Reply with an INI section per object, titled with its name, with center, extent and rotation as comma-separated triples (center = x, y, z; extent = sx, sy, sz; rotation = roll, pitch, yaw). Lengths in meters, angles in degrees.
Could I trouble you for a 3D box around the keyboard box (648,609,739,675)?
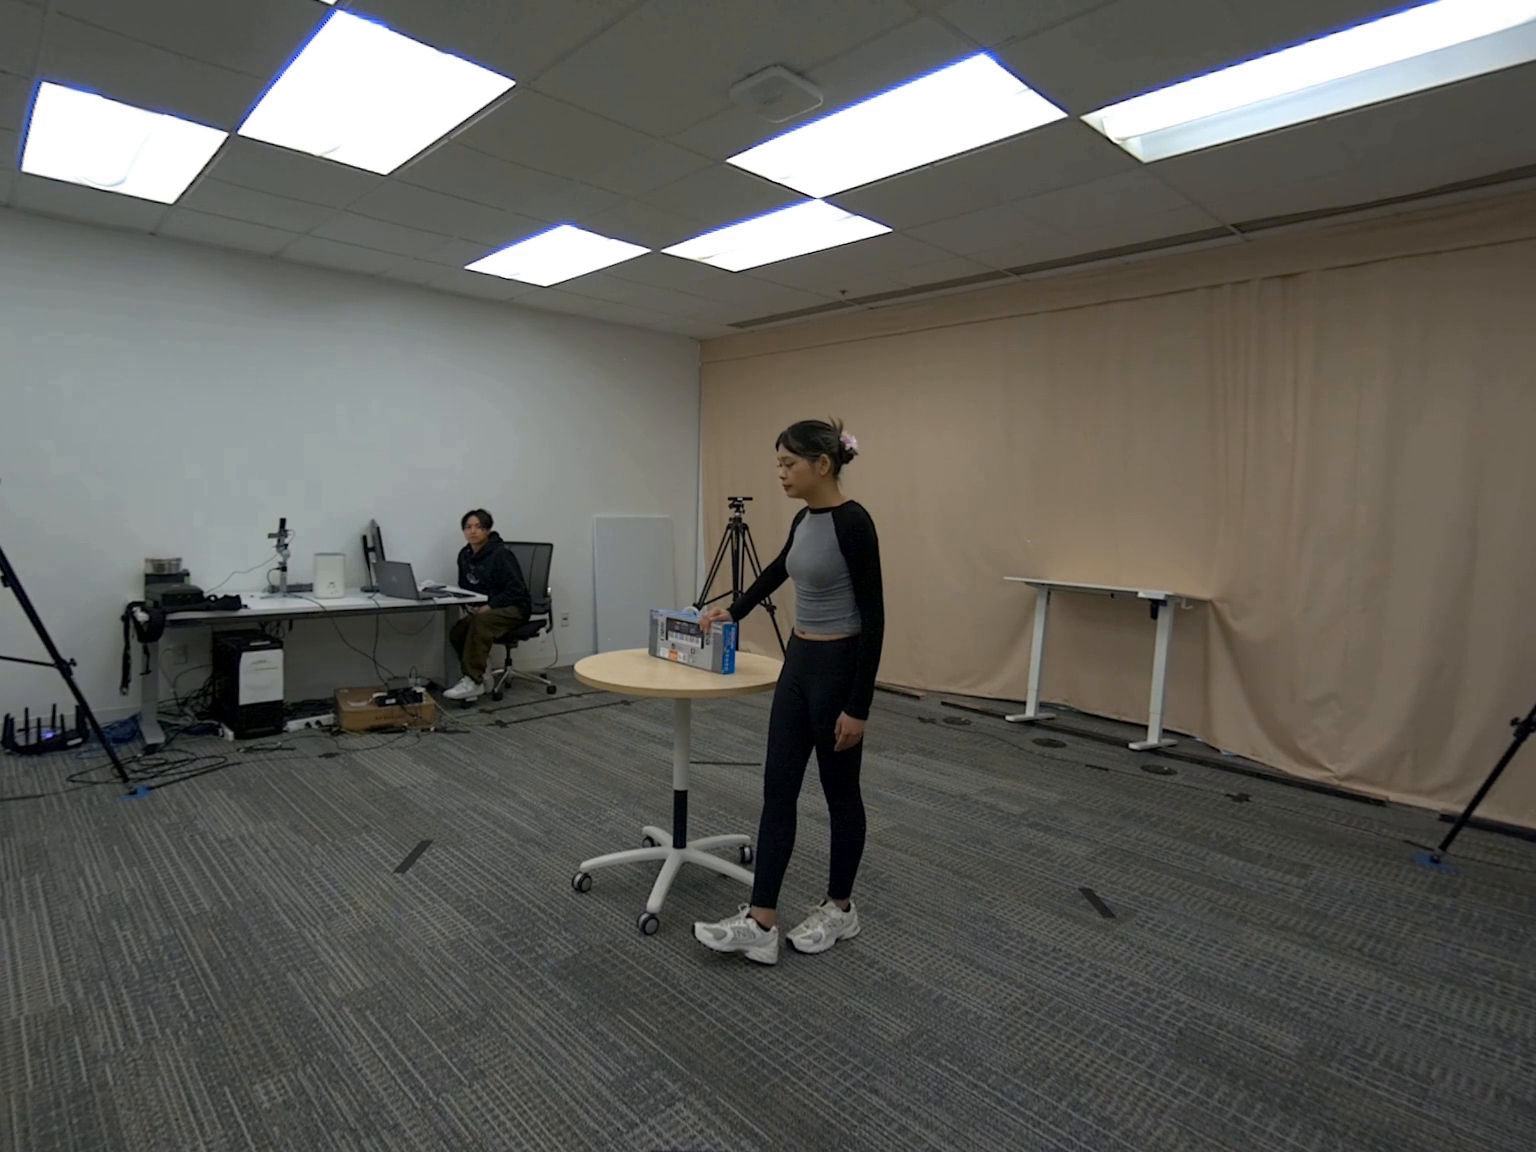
[keyboard box]
center = -0.287, 0.232, 3.030
extent = 0.058, 0.176, 0.448
rotation = 2, 4, -42
